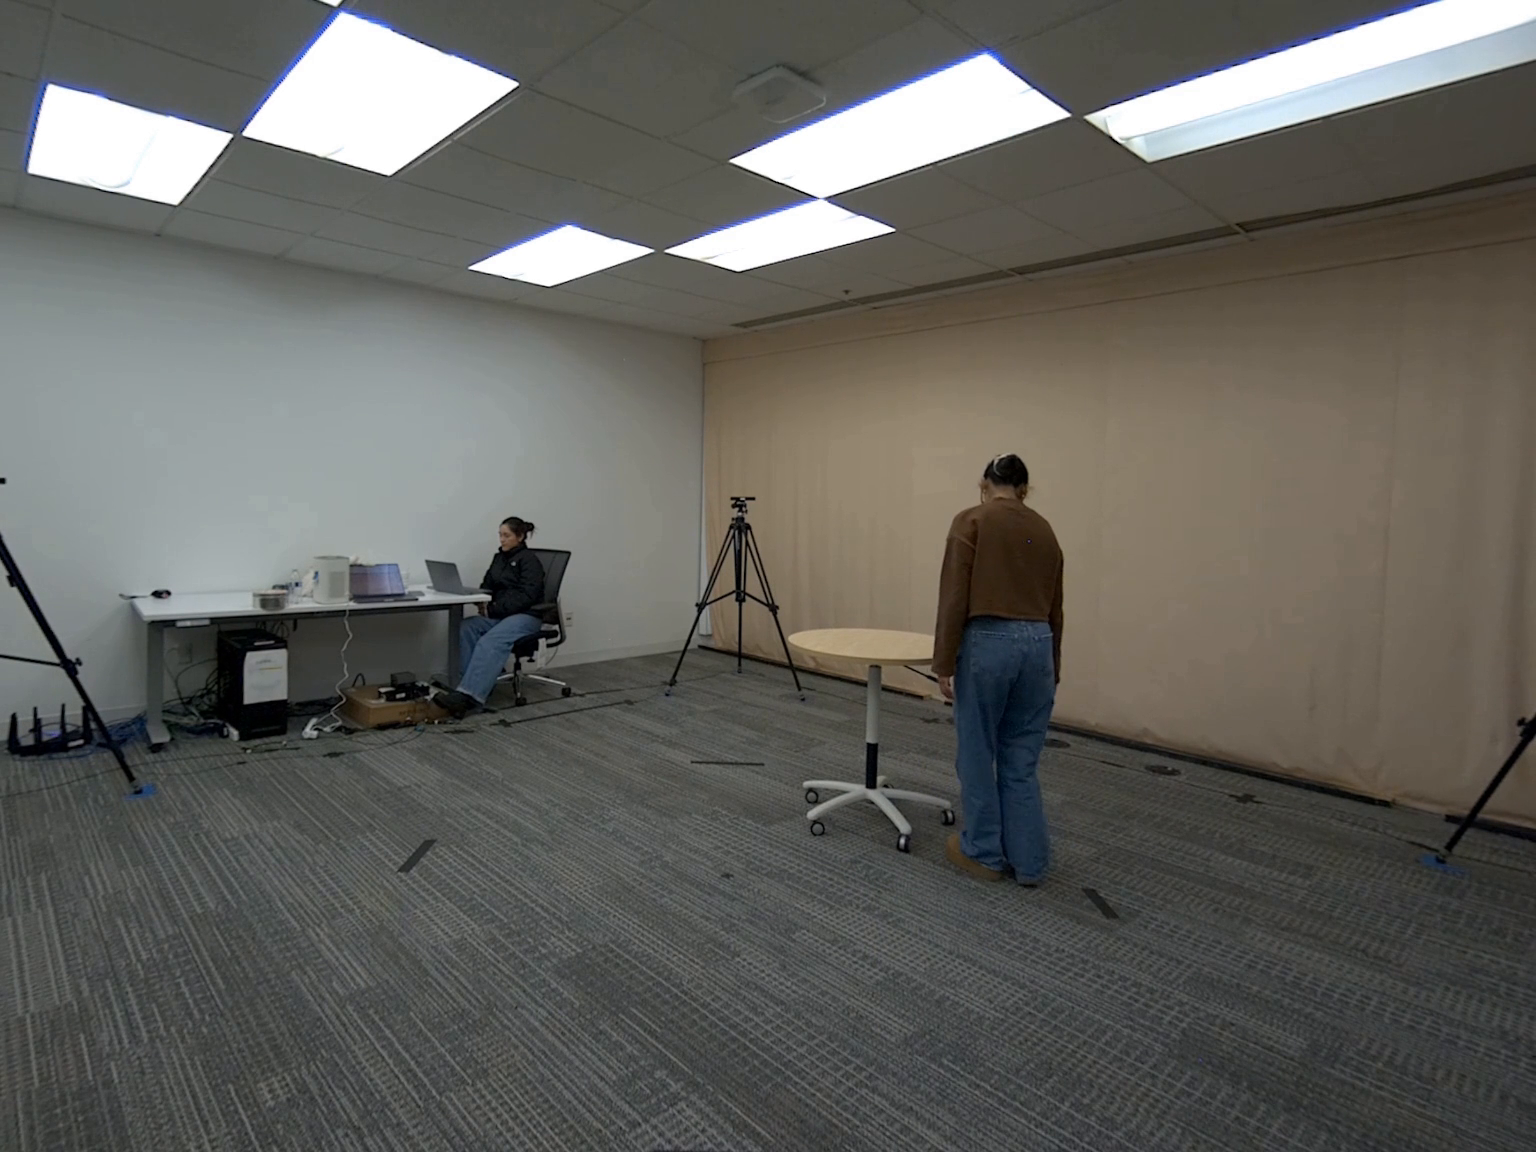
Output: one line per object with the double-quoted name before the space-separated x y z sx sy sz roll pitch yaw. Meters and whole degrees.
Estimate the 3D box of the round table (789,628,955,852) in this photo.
"round table" 0.454 0.684 3.691 0.763 0.792 0.766 2 4 -1
